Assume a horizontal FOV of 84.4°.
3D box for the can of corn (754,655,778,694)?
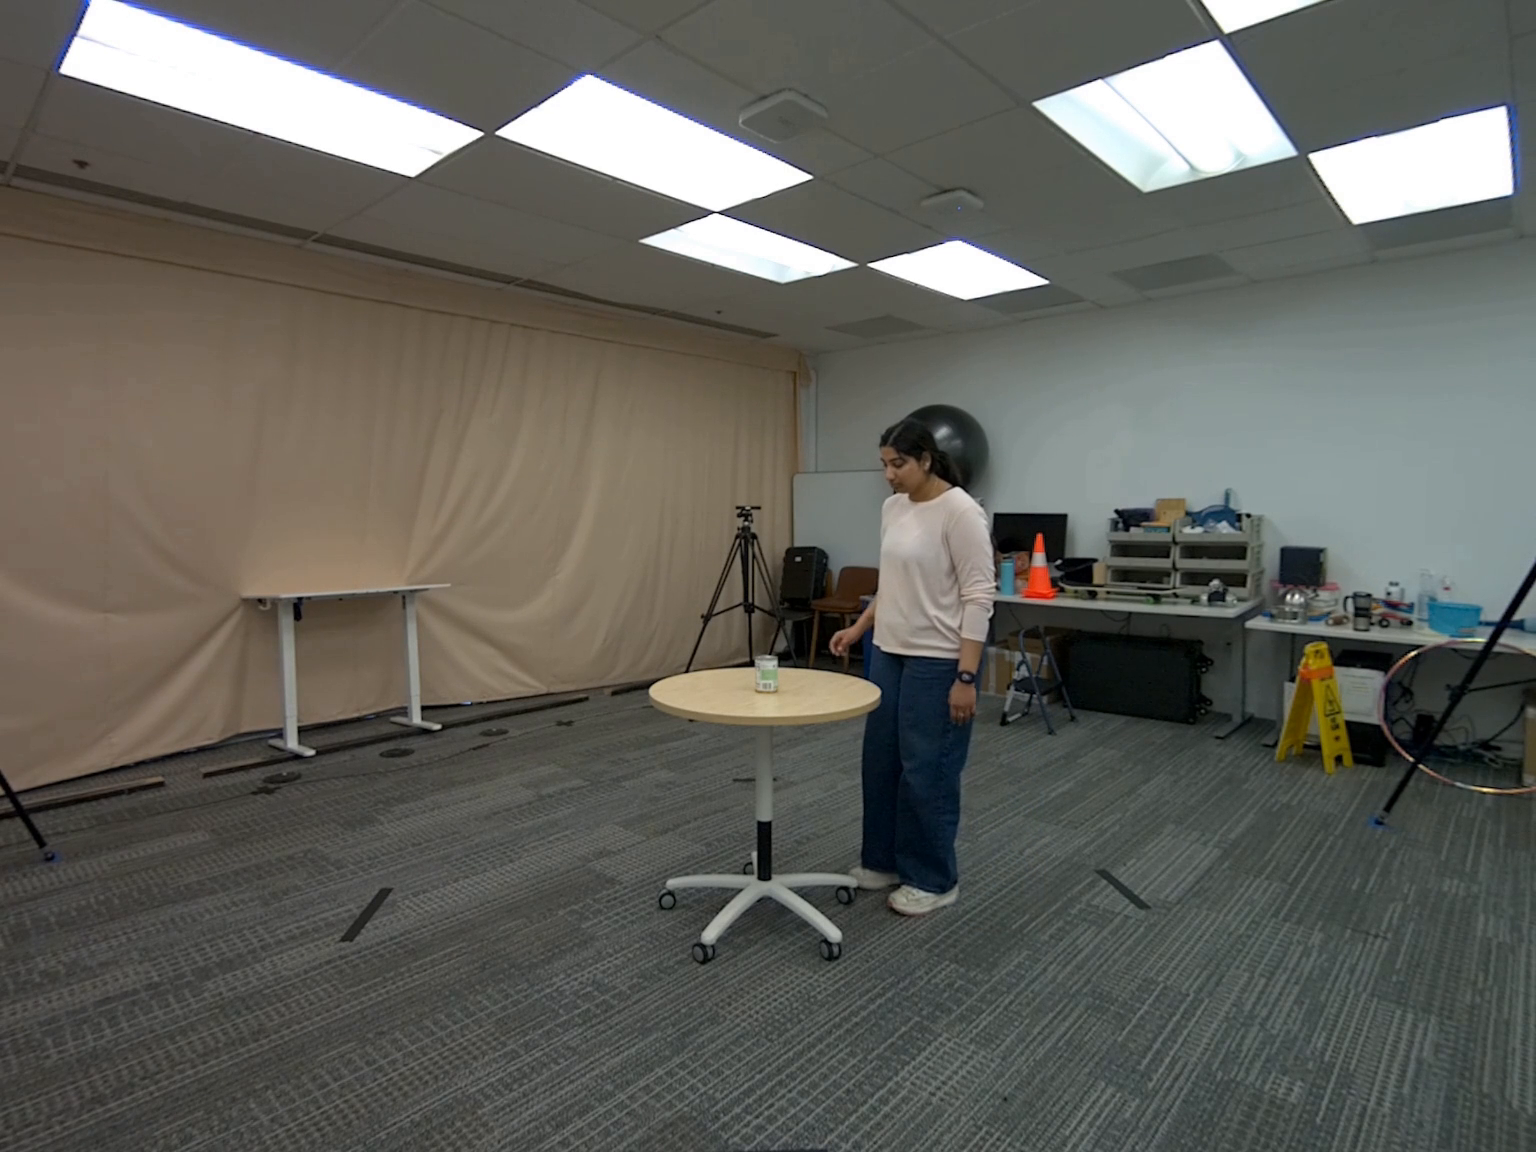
[{"bbox_3d":[0.005,0.322,2.762,0.074,0.111,0.074,-1,1,-2],"label":"can of corn"}]
